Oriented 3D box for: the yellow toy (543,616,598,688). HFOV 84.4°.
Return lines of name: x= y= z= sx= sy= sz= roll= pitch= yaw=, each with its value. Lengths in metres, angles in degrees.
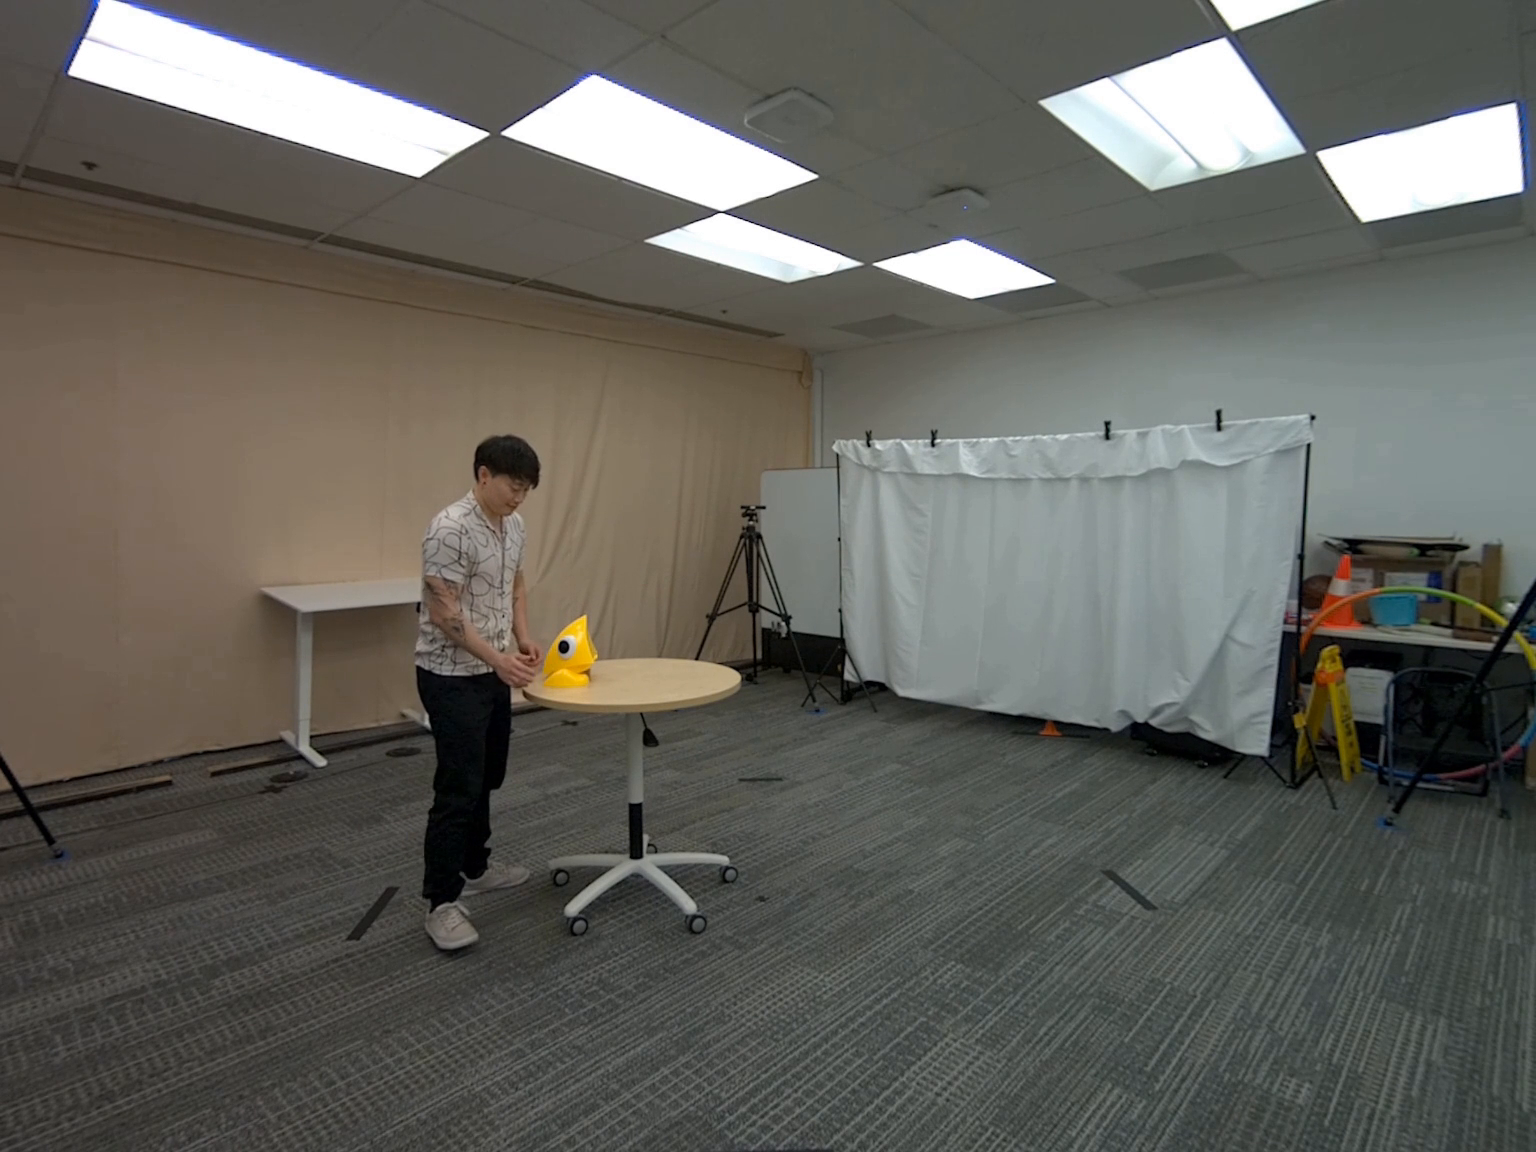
yellow toy: x=-0.702 y=0.257 z=2.945 sx=0.192 sy=0.230 sz=0.206 roll=-1 pitch=3 yaw=-7
